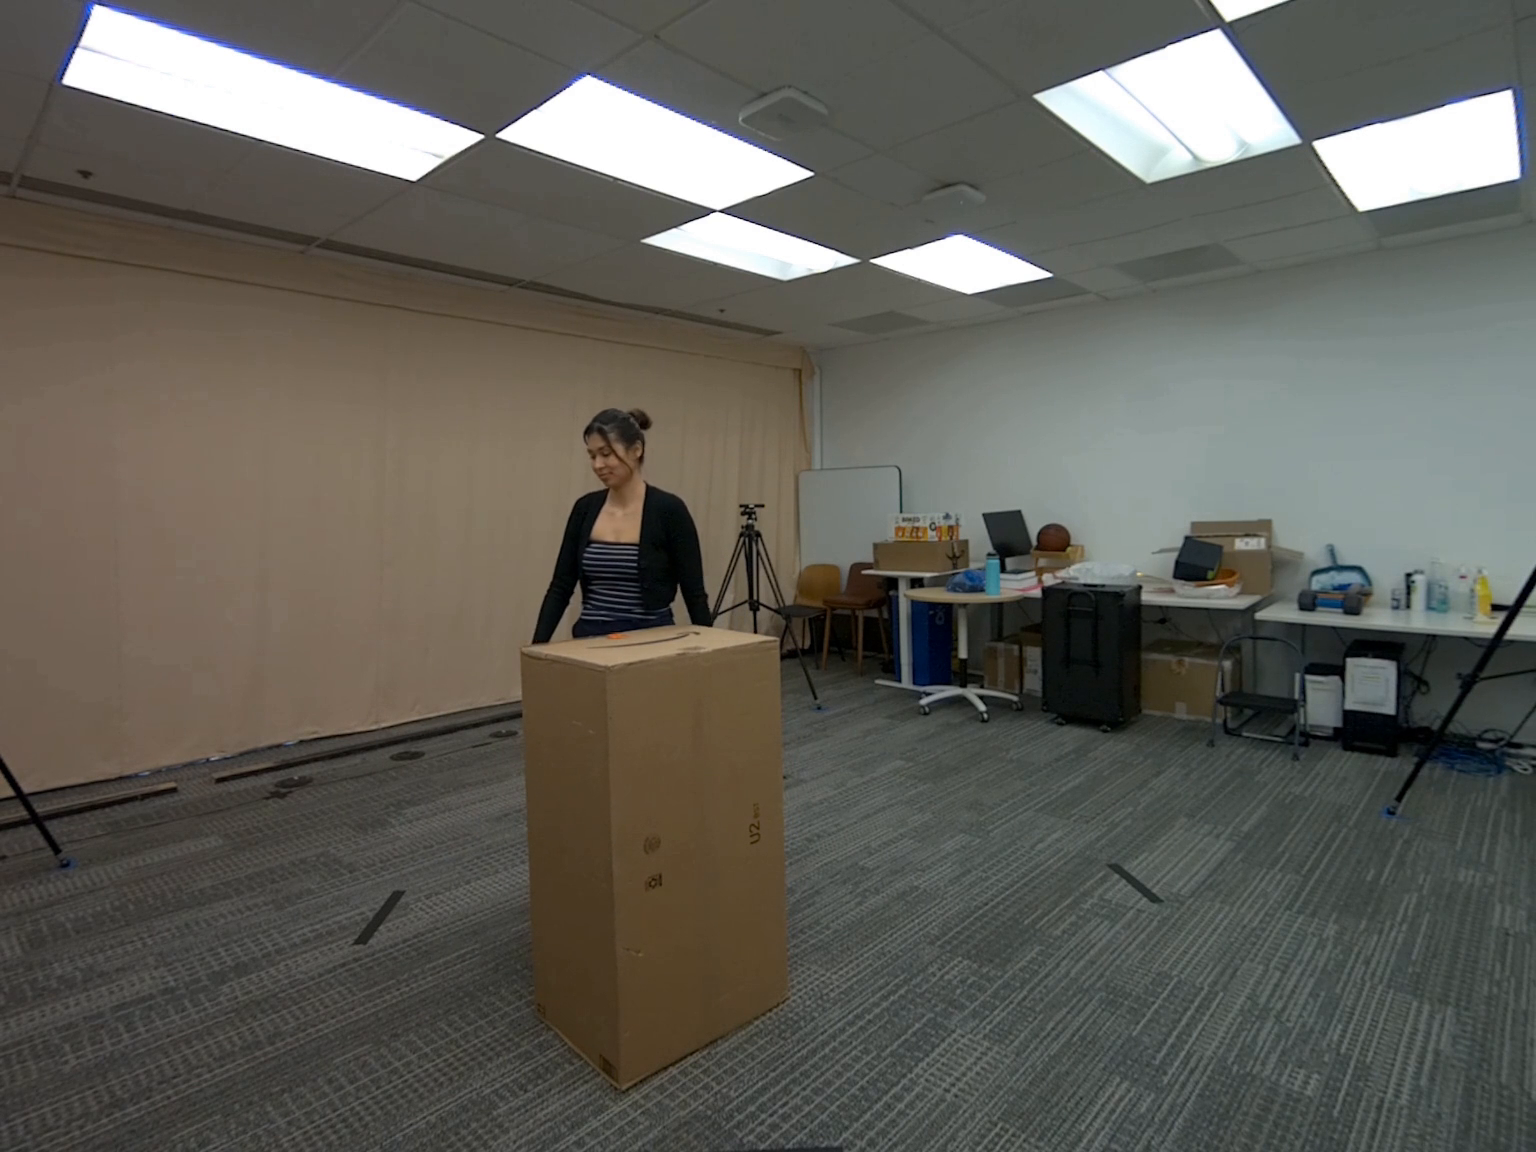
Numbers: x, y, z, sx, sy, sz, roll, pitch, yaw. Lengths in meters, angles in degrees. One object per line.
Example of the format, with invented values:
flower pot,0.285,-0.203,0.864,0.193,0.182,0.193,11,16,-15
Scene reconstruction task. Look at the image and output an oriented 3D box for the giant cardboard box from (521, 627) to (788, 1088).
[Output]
giant cardboard box,-0.299,0.693,2.313,0.560,1.024,0.440,-4,4,-42
